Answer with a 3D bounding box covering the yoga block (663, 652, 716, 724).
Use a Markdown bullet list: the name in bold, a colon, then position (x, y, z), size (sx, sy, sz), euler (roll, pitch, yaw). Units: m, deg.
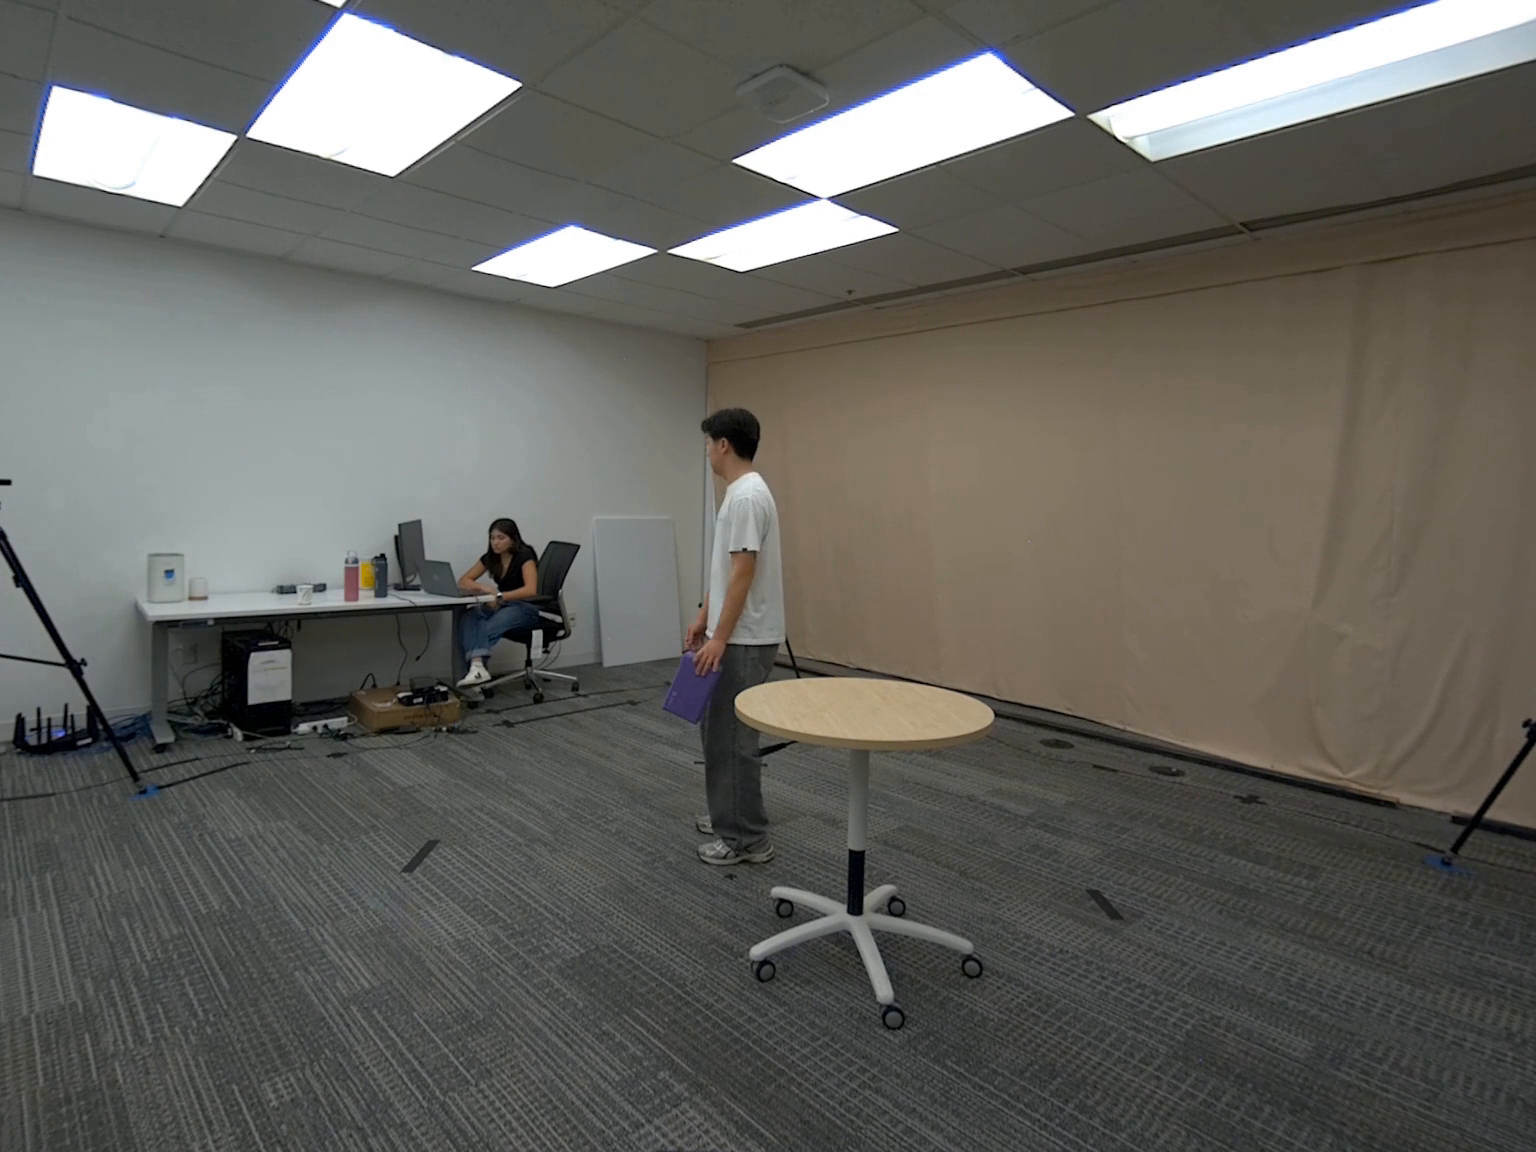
- **yoga block**: position (-0.288, 0.417, 3.130), size (0.149, 0.229, 0.076), euler (15, 5, 4)
